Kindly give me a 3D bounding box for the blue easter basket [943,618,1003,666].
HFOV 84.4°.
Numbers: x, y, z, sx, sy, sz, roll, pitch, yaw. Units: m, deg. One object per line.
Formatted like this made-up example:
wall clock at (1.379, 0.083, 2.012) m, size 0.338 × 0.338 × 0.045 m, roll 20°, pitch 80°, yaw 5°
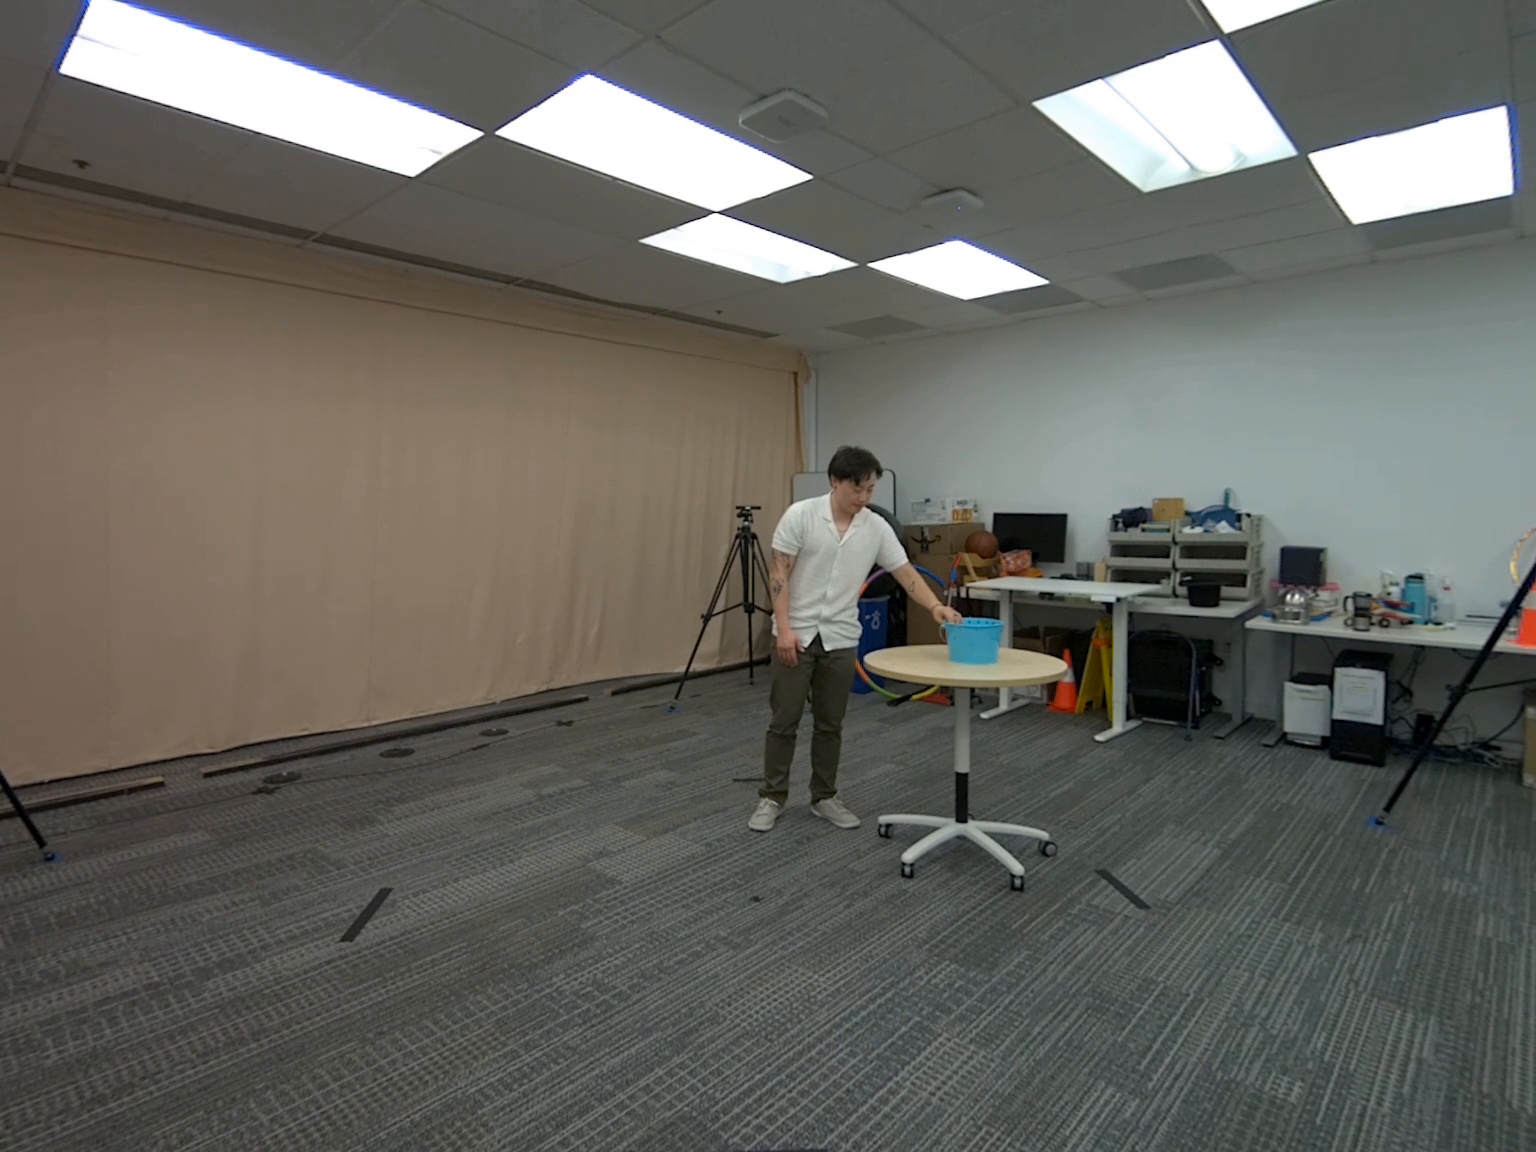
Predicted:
blue easter basket at (0.816, 0.259, 3.318) m, size 0.243 × 0.155 × 0.244 m, roll 0°, pitch 4°, yaw -2°
